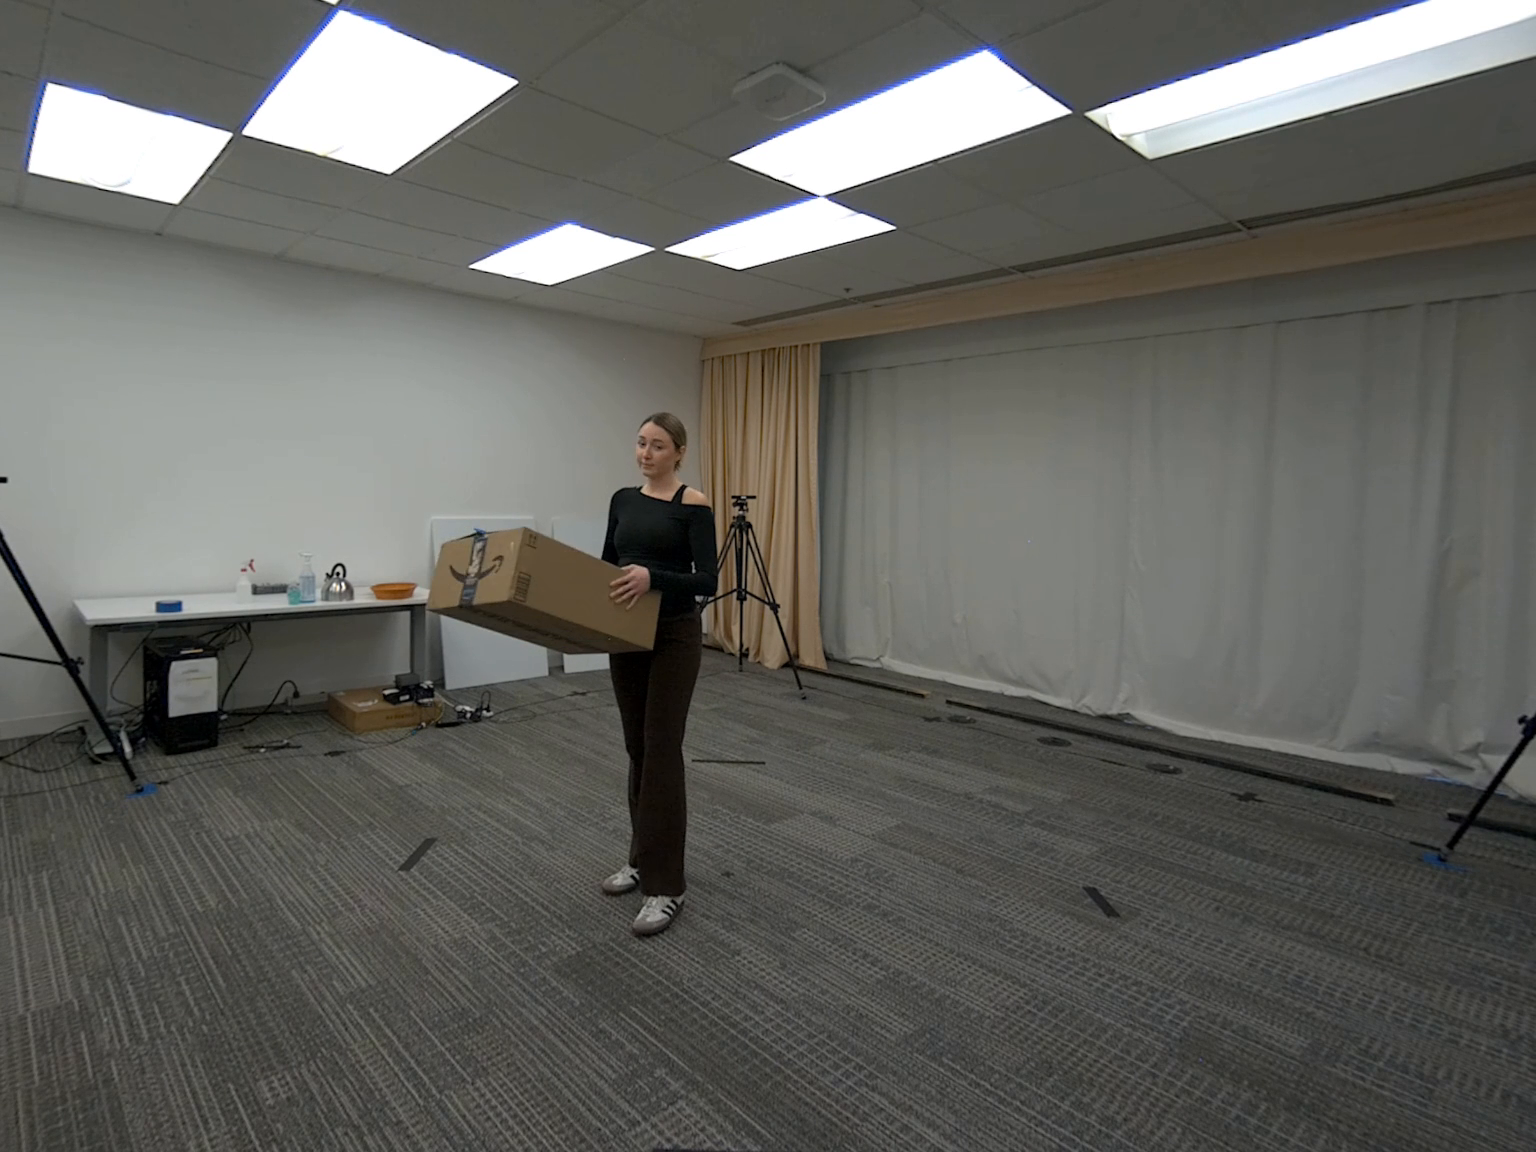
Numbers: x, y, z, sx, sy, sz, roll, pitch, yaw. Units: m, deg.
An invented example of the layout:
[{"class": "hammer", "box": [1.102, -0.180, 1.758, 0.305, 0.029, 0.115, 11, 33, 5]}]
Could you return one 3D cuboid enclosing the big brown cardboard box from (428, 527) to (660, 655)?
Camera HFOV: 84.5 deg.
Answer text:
[{"class": "big brown cardboard box", "box": [-0.683, 0.068, 2.595, 0.426, 0.236, 0.570, -6, -23, 37]}]
